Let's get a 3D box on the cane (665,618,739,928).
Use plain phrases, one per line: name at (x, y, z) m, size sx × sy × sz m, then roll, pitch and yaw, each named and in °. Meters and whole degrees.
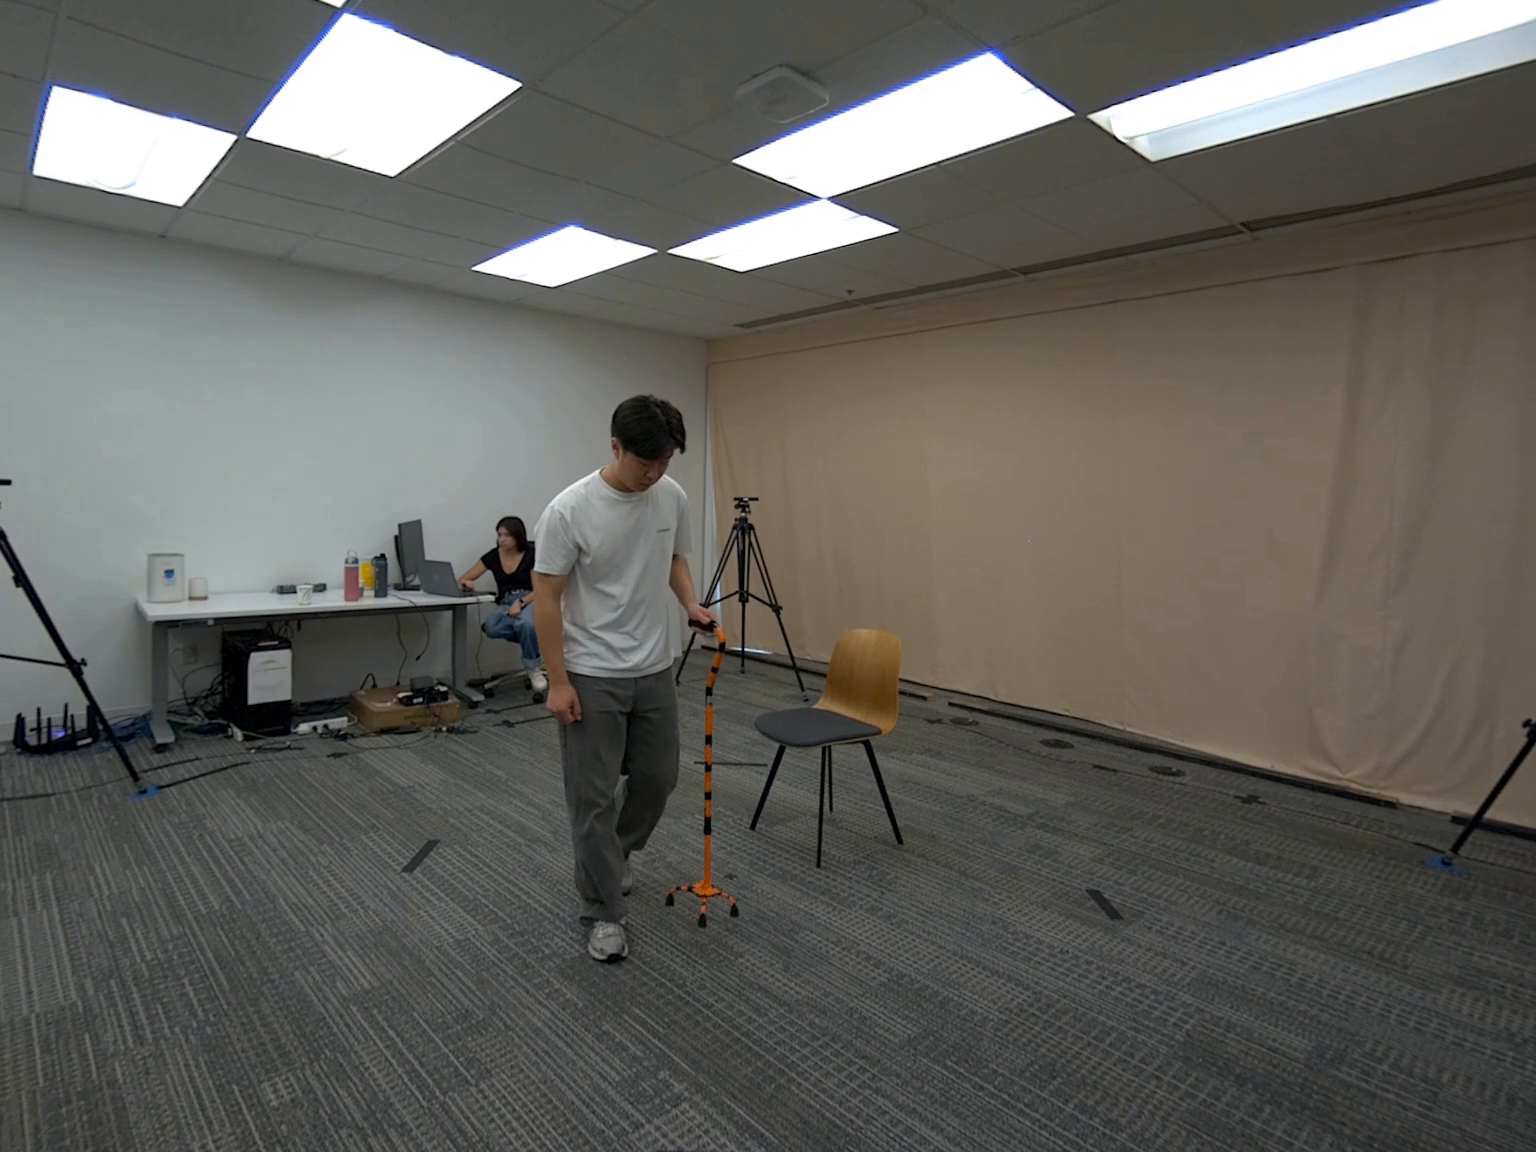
cane at (-0.200, 0.605, 2.631) m, size 0.148 × 0.908 × 0.211 m, roll 2°, pitch 0°, yaw -37°
